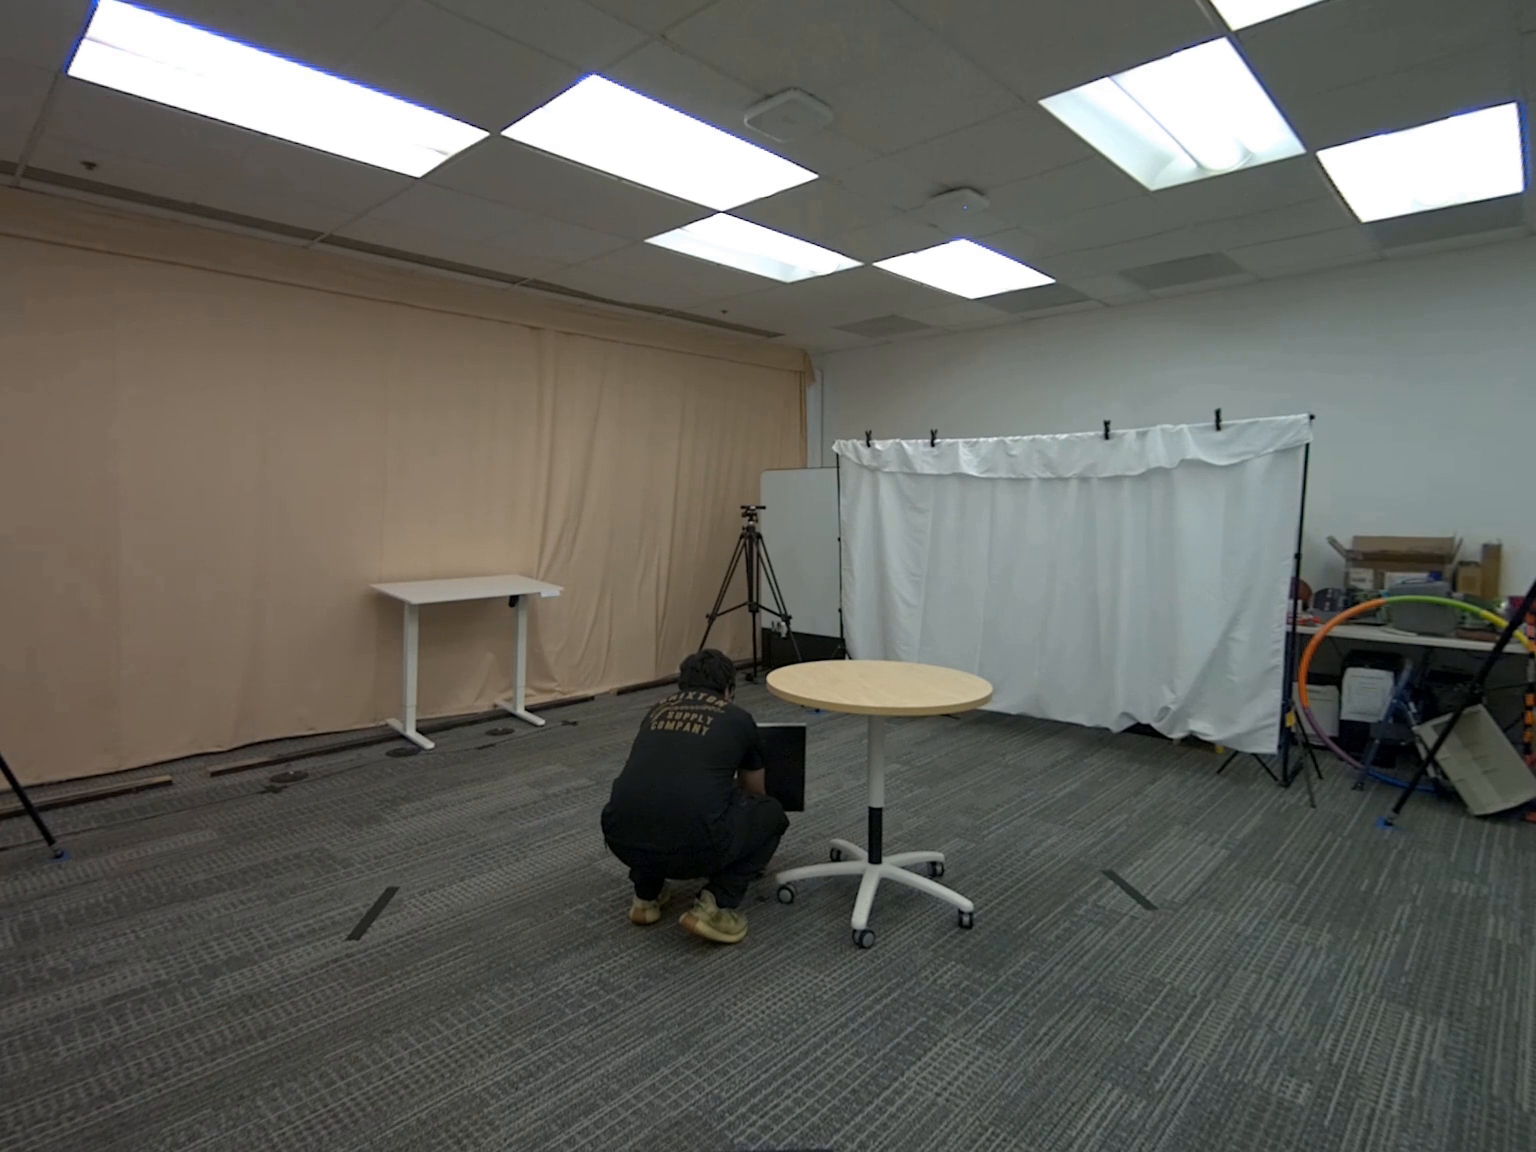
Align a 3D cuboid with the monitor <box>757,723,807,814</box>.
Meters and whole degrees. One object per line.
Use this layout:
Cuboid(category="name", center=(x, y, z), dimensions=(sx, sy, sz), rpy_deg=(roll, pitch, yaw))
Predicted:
Cuboid(category="monitor", center=(-0.129, 0.844, 3.223), dimensions=(0.565, 0.552, 0.211), rpy_deg=(0, 4, -1))
